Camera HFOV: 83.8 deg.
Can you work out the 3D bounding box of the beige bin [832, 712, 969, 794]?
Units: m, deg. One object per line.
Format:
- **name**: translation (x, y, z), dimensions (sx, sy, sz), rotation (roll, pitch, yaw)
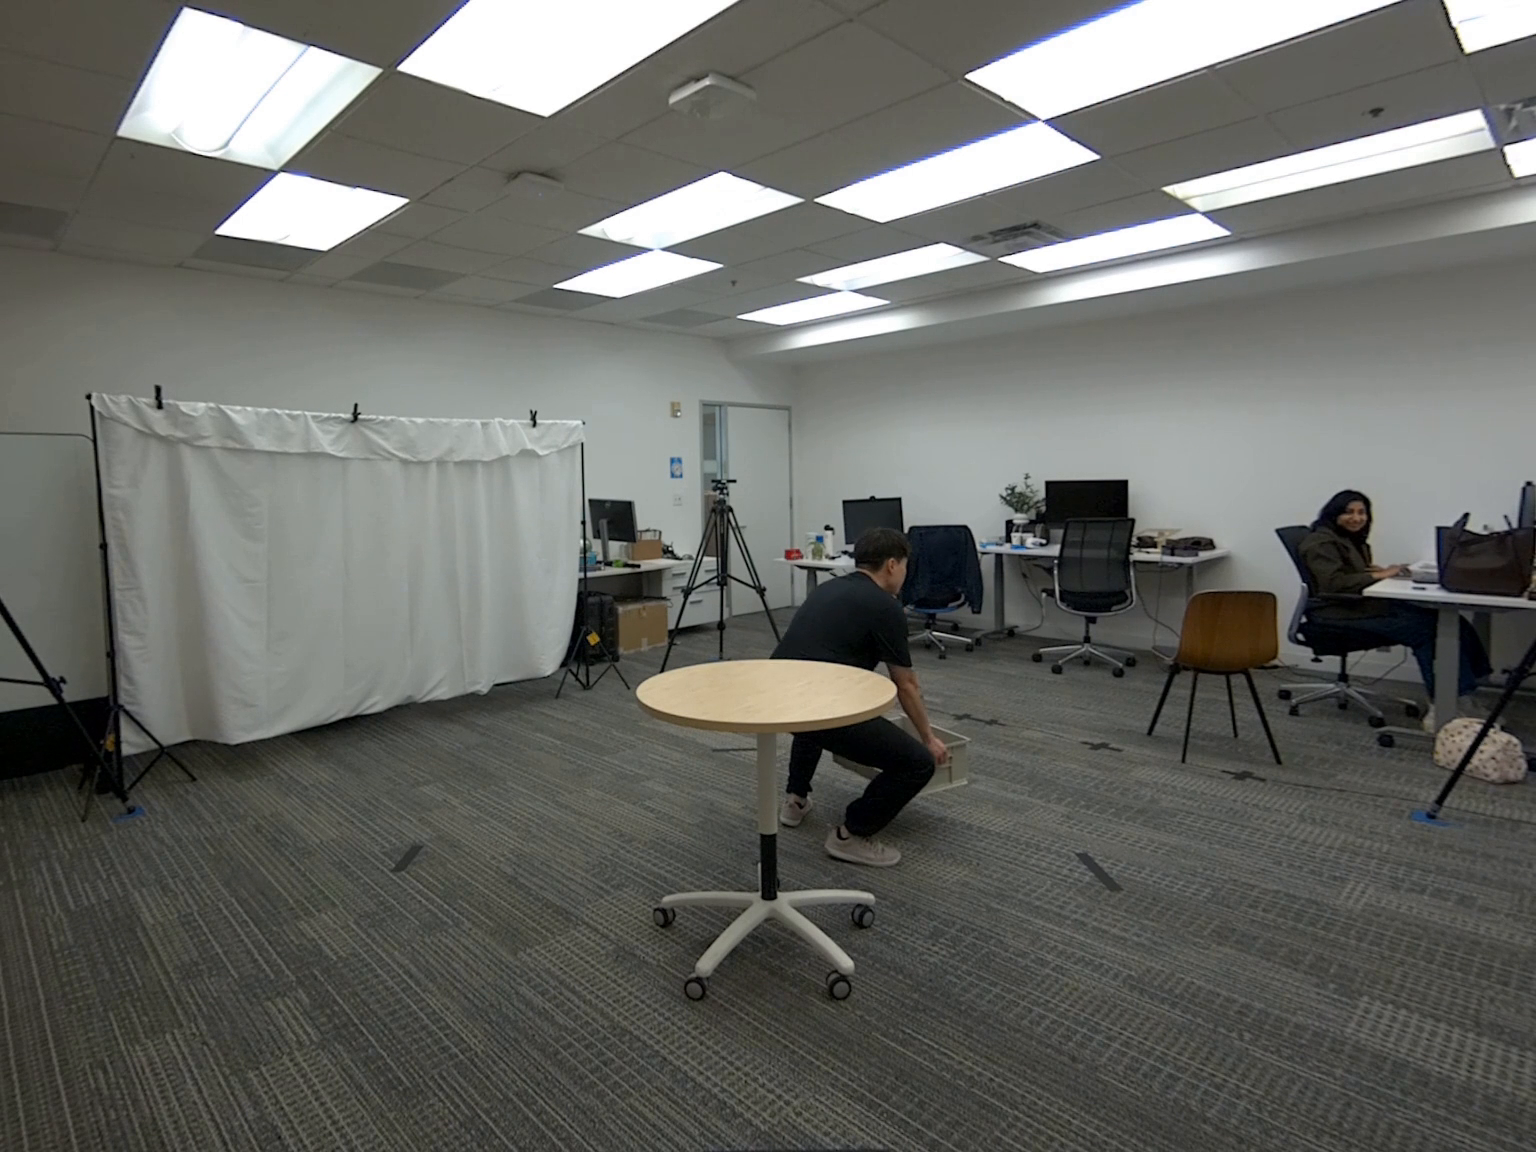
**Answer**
- **beige bin**: translation (0.554, 0.743, 3.466), dimensions (0.369, 0.188, 0.433), rotation (-2, 5, -26)
